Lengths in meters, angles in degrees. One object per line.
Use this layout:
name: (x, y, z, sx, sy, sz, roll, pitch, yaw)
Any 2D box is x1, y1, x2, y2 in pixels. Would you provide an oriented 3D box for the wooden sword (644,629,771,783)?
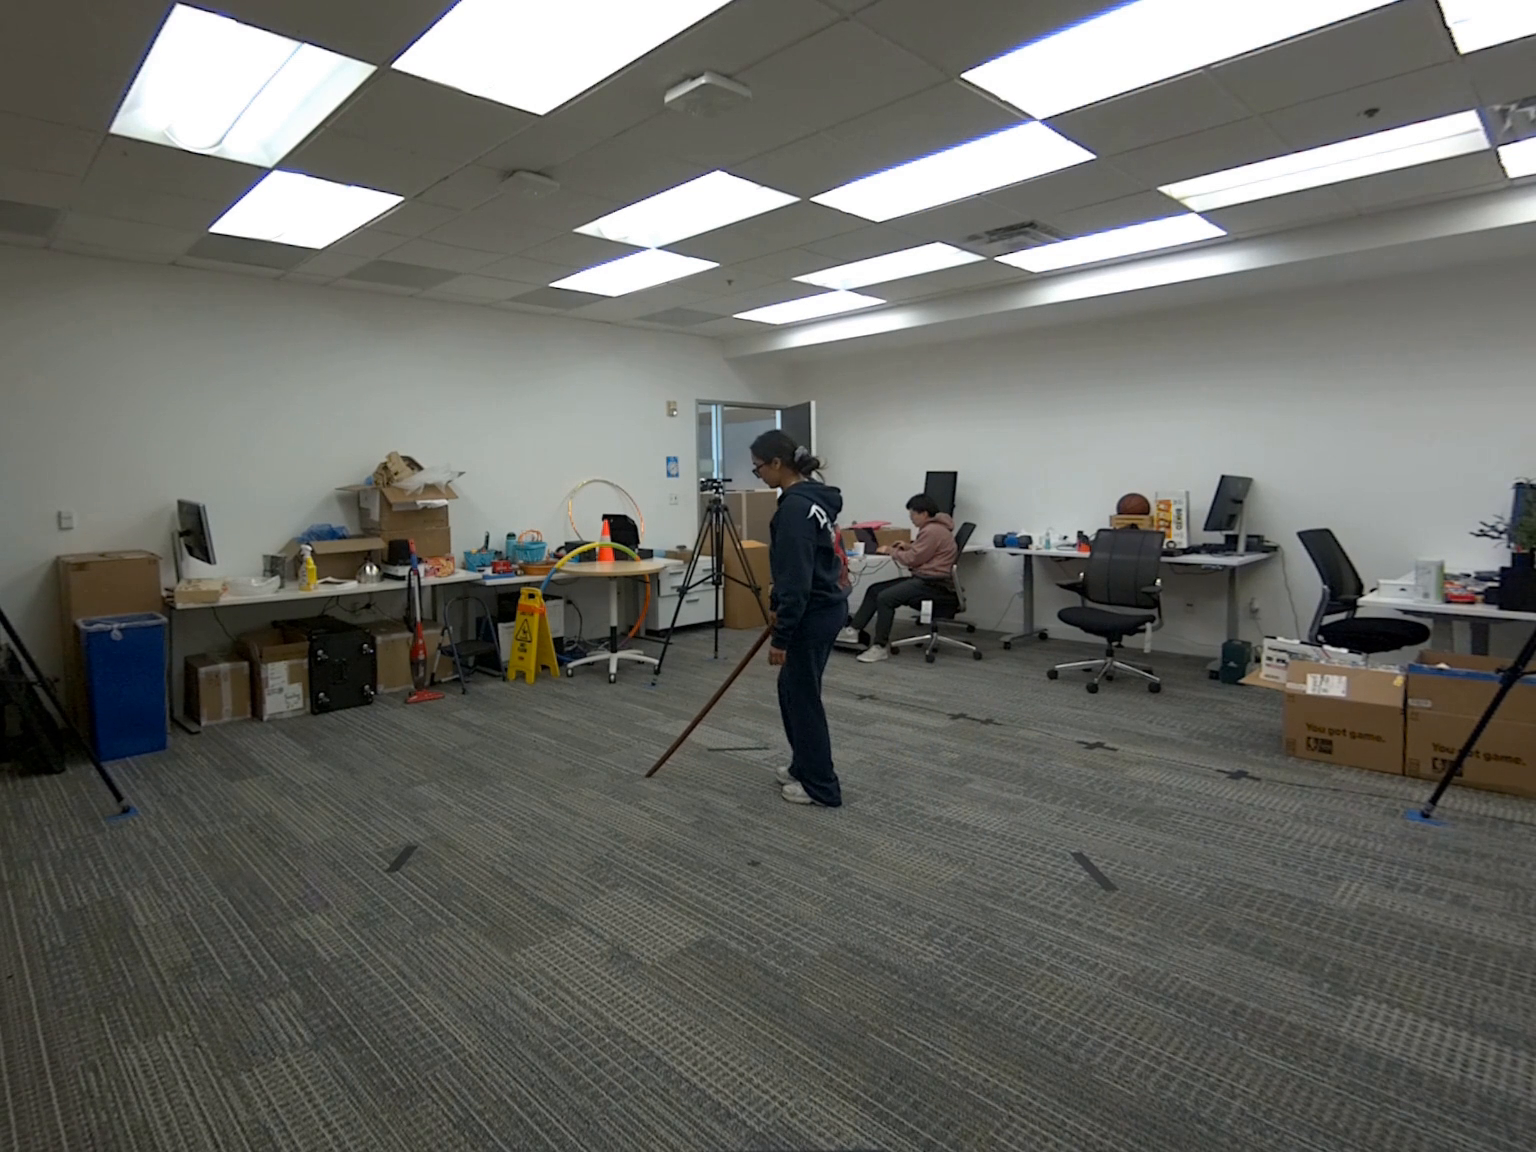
wooden sword: (-0.228, 0.567, 4.027, 0.052, 1.024, 0.023, 41, 2, 19)
